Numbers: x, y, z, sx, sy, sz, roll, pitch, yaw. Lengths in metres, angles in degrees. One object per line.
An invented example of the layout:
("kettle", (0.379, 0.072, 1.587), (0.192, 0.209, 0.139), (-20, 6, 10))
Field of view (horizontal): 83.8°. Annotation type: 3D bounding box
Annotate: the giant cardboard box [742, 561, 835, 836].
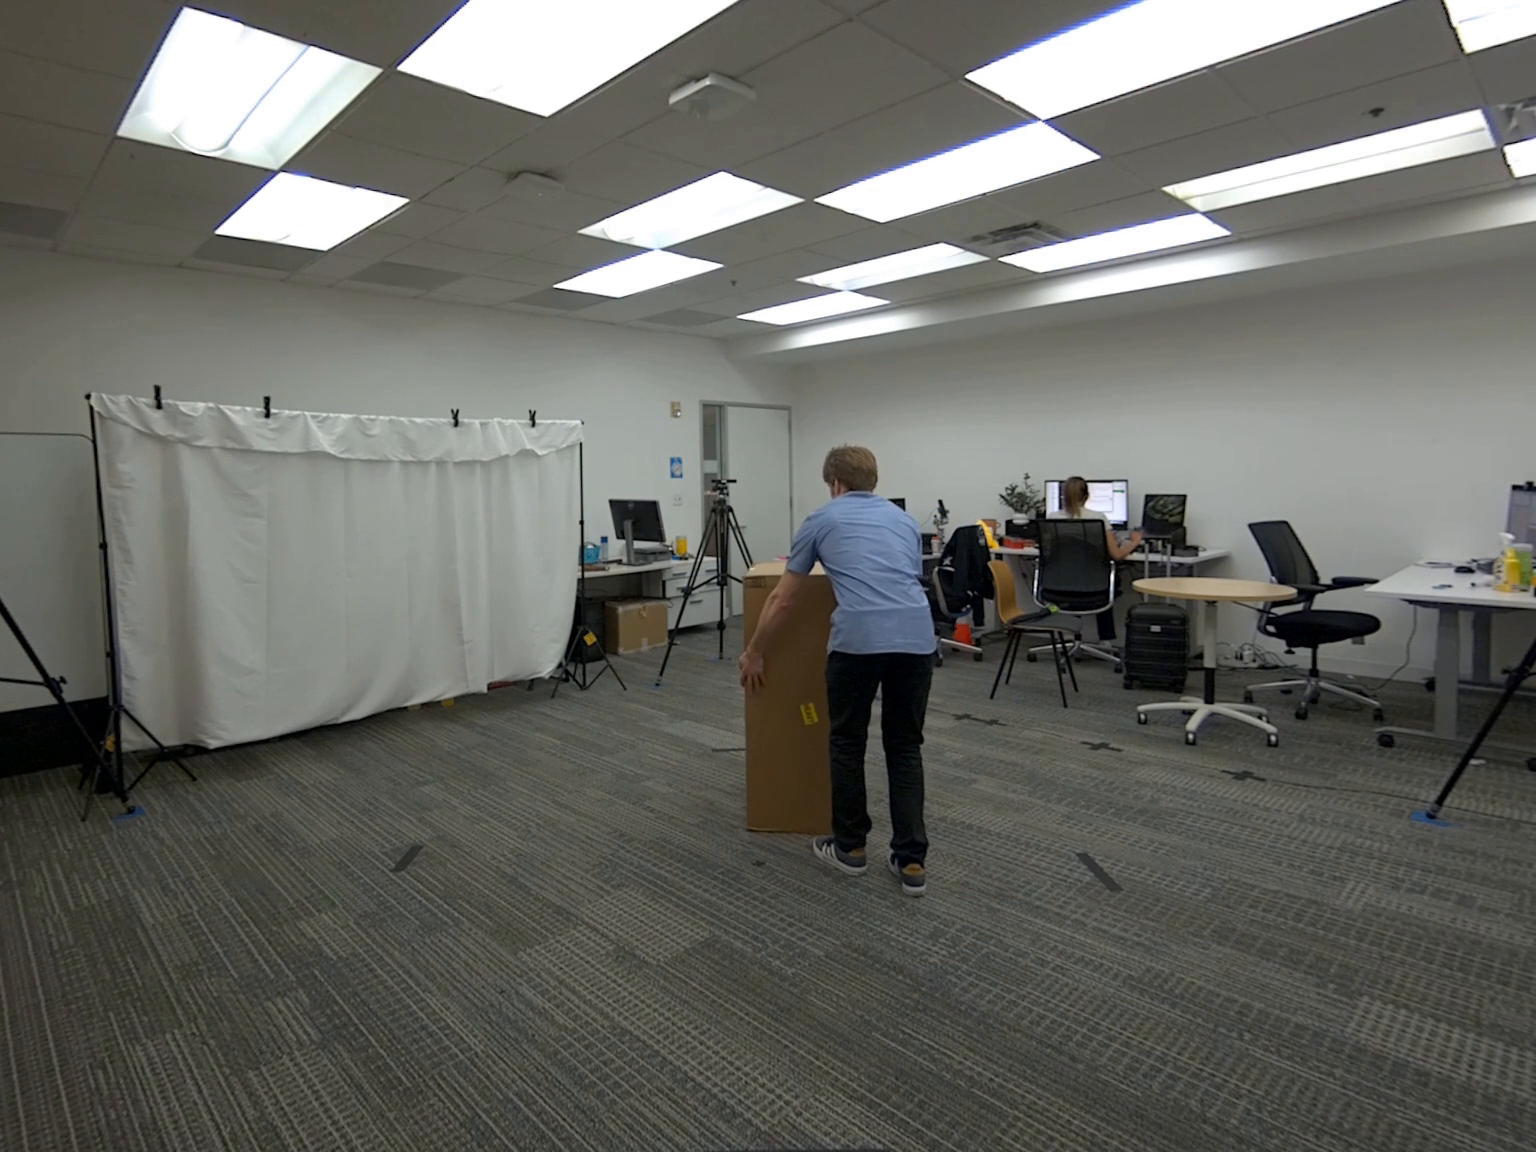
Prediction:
("giant cardboard box", (0.140, 0.478, 3.625), (0.429, 1.023, 0.575), (0, 3, 6))
